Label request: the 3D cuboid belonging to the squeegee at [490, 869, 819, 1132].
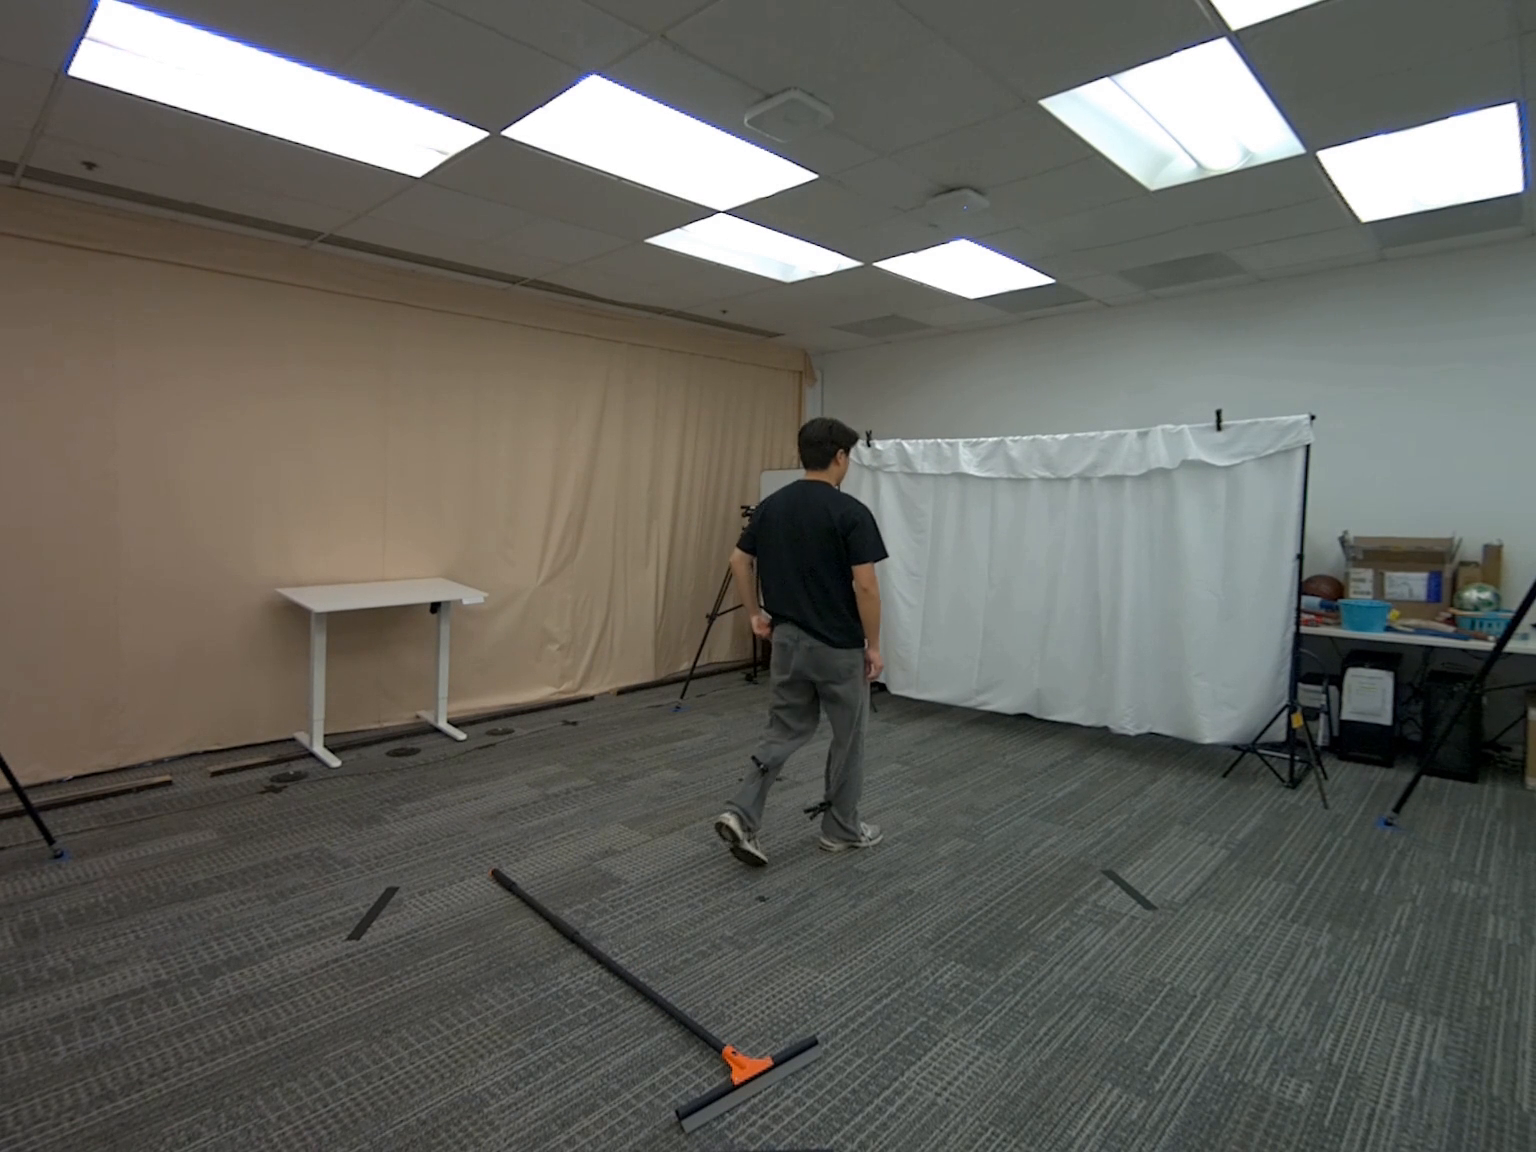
[{"bbox_3d":[-0.530,1.137,2.599,0.424,0.053,1.589,-2,5,-41],"label":"squeegee"}]
